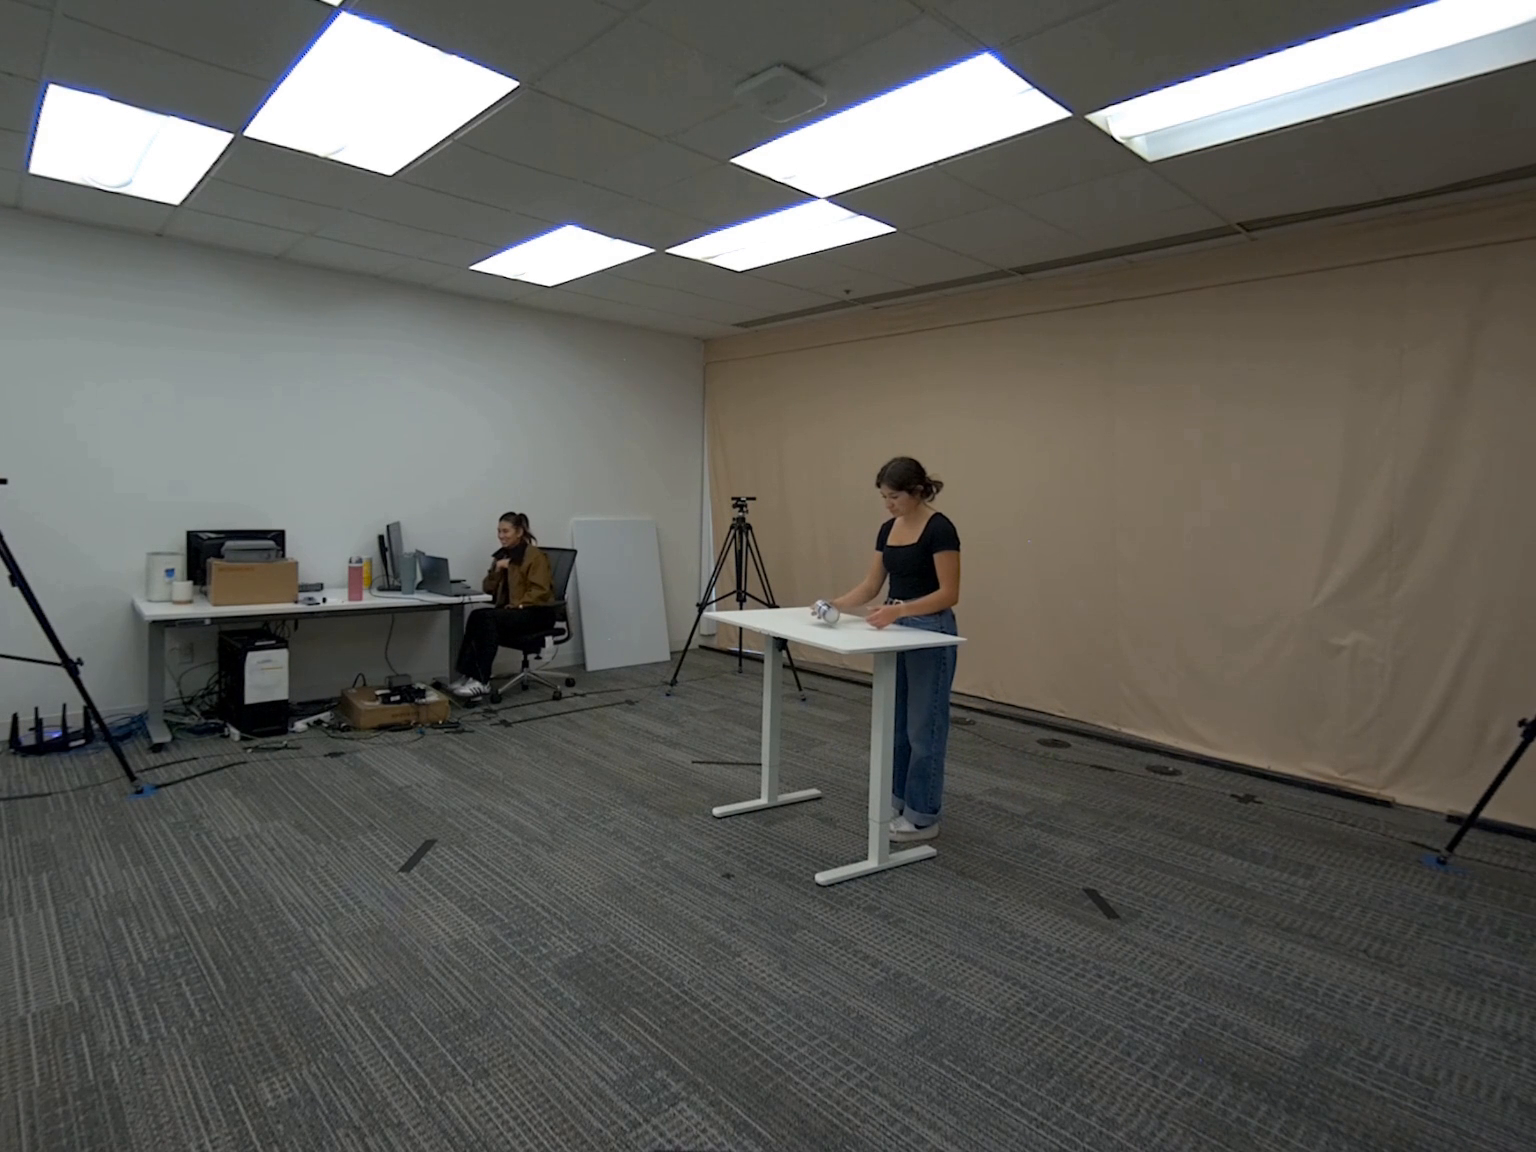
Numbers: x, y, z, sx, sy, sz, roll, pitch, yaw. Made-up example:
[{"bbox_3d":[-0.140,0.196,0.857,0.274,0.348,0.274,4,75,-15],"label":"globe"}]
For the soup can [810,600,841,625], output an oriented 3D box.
[{"bbox_3d":[0.247,0.148,3.420,0.067,0.066,0.123,1,11,-9],"label":"soup can"}]
